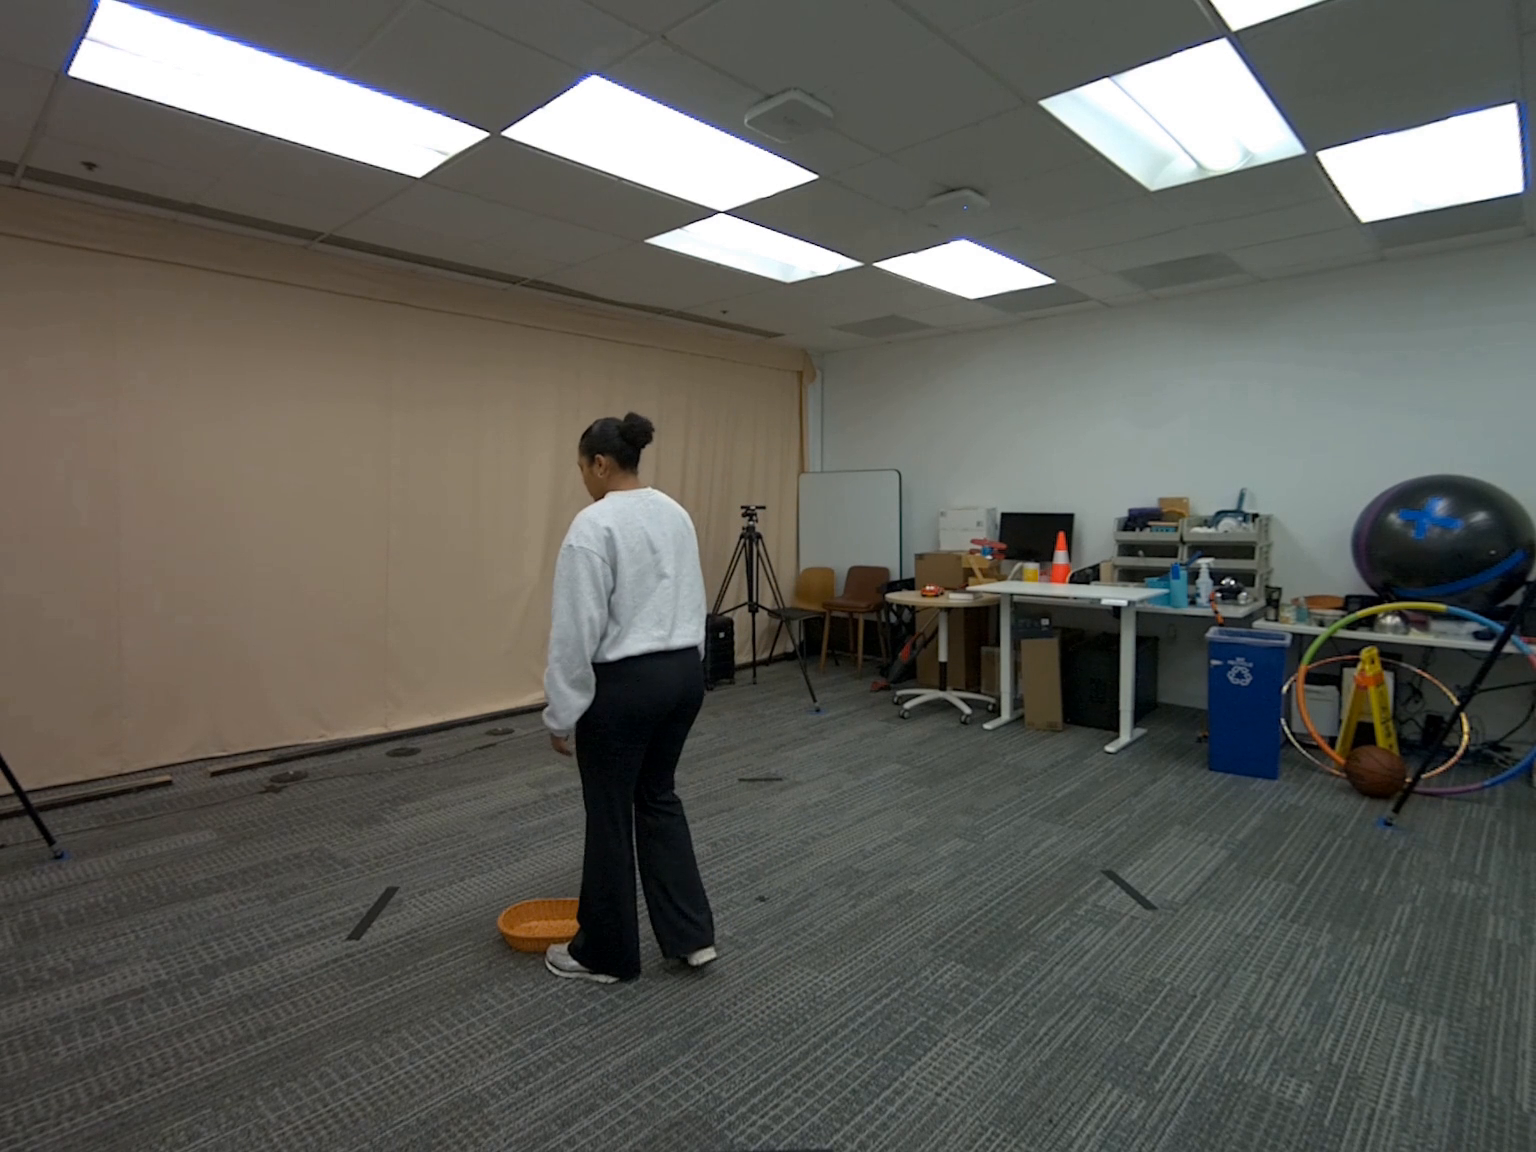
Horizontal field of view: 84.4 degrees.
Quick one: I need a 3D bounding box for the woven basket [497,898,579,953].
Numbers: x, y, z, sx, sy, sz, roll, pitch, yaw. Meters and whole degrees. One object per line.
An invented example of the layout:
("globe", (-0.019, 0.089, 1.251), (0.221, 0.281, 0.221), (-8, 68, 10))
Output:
("woven basket", (-0.696, 1.133, 2.718), (0.351, 0.073, 0.252), (0, 5, 1))
